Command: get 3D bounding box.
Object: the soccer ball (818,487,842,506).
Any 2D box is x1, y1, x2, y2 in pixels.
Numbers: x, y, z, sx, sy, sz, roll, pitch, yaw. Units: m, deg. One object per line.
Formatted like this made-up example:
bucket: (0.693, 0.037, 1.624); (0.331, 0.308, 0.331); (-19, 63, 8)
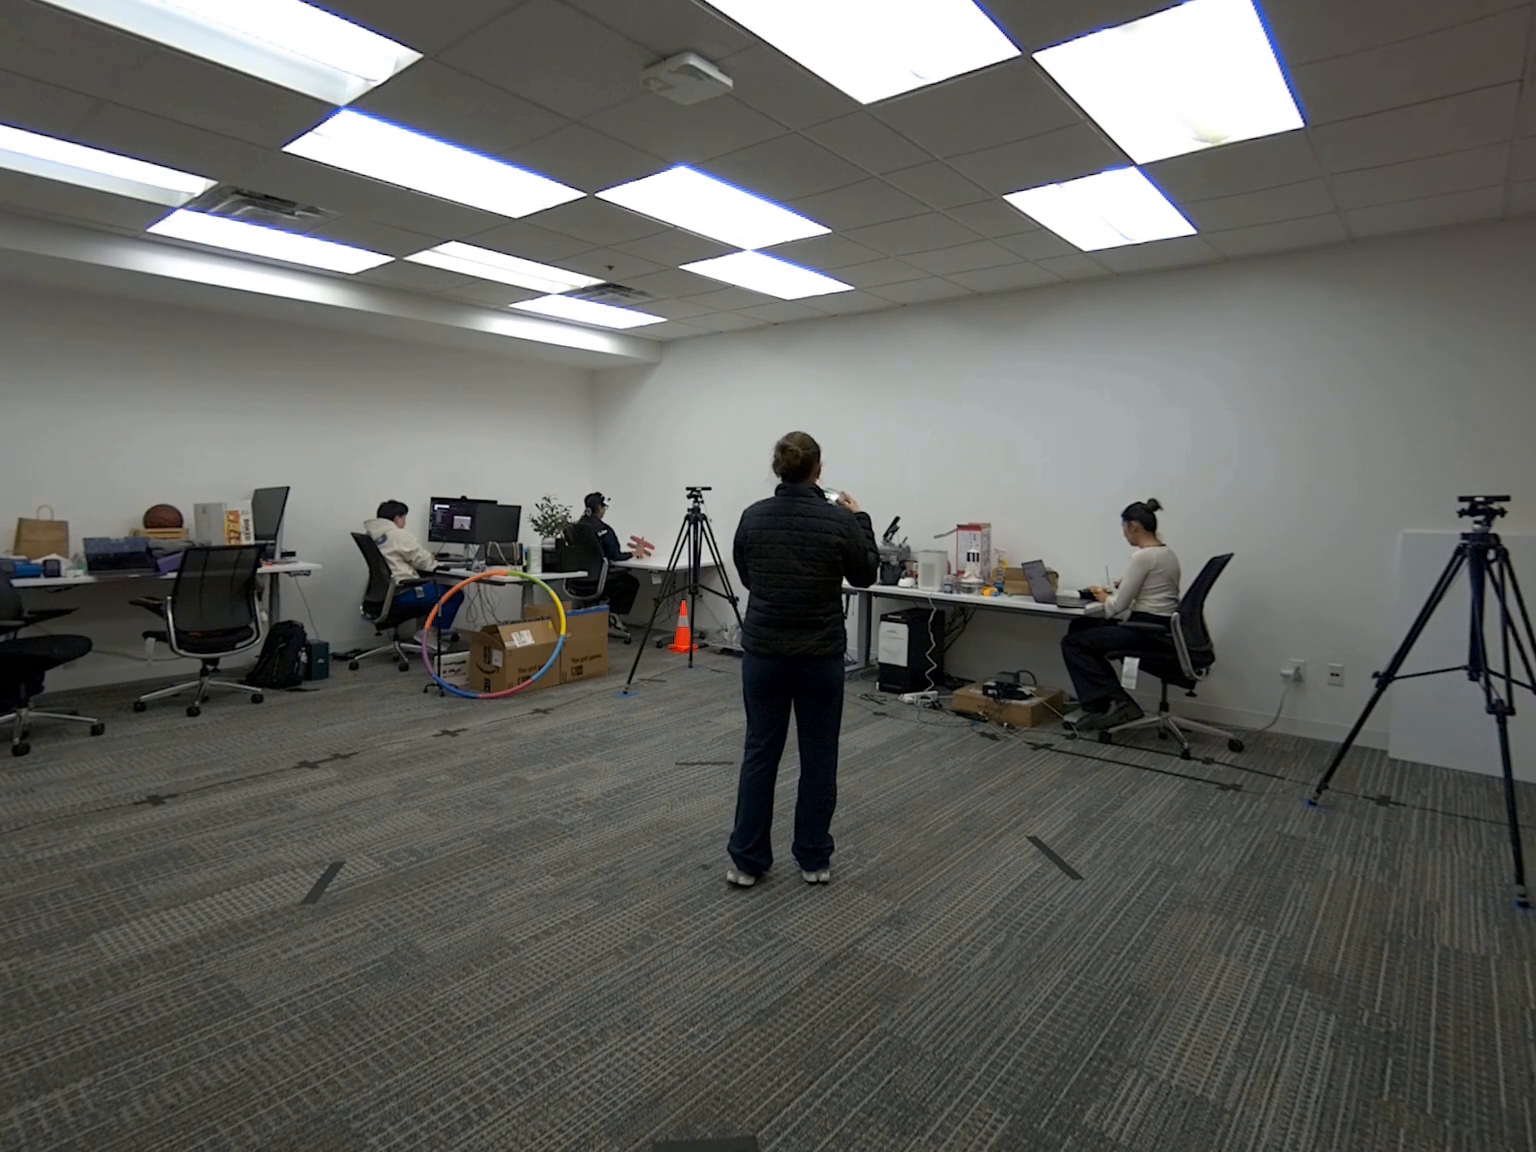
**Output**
soccer ball: (0.209, -0.258, 3.266); (0.187, 0.187, 0.188); (1, 4, -2)
